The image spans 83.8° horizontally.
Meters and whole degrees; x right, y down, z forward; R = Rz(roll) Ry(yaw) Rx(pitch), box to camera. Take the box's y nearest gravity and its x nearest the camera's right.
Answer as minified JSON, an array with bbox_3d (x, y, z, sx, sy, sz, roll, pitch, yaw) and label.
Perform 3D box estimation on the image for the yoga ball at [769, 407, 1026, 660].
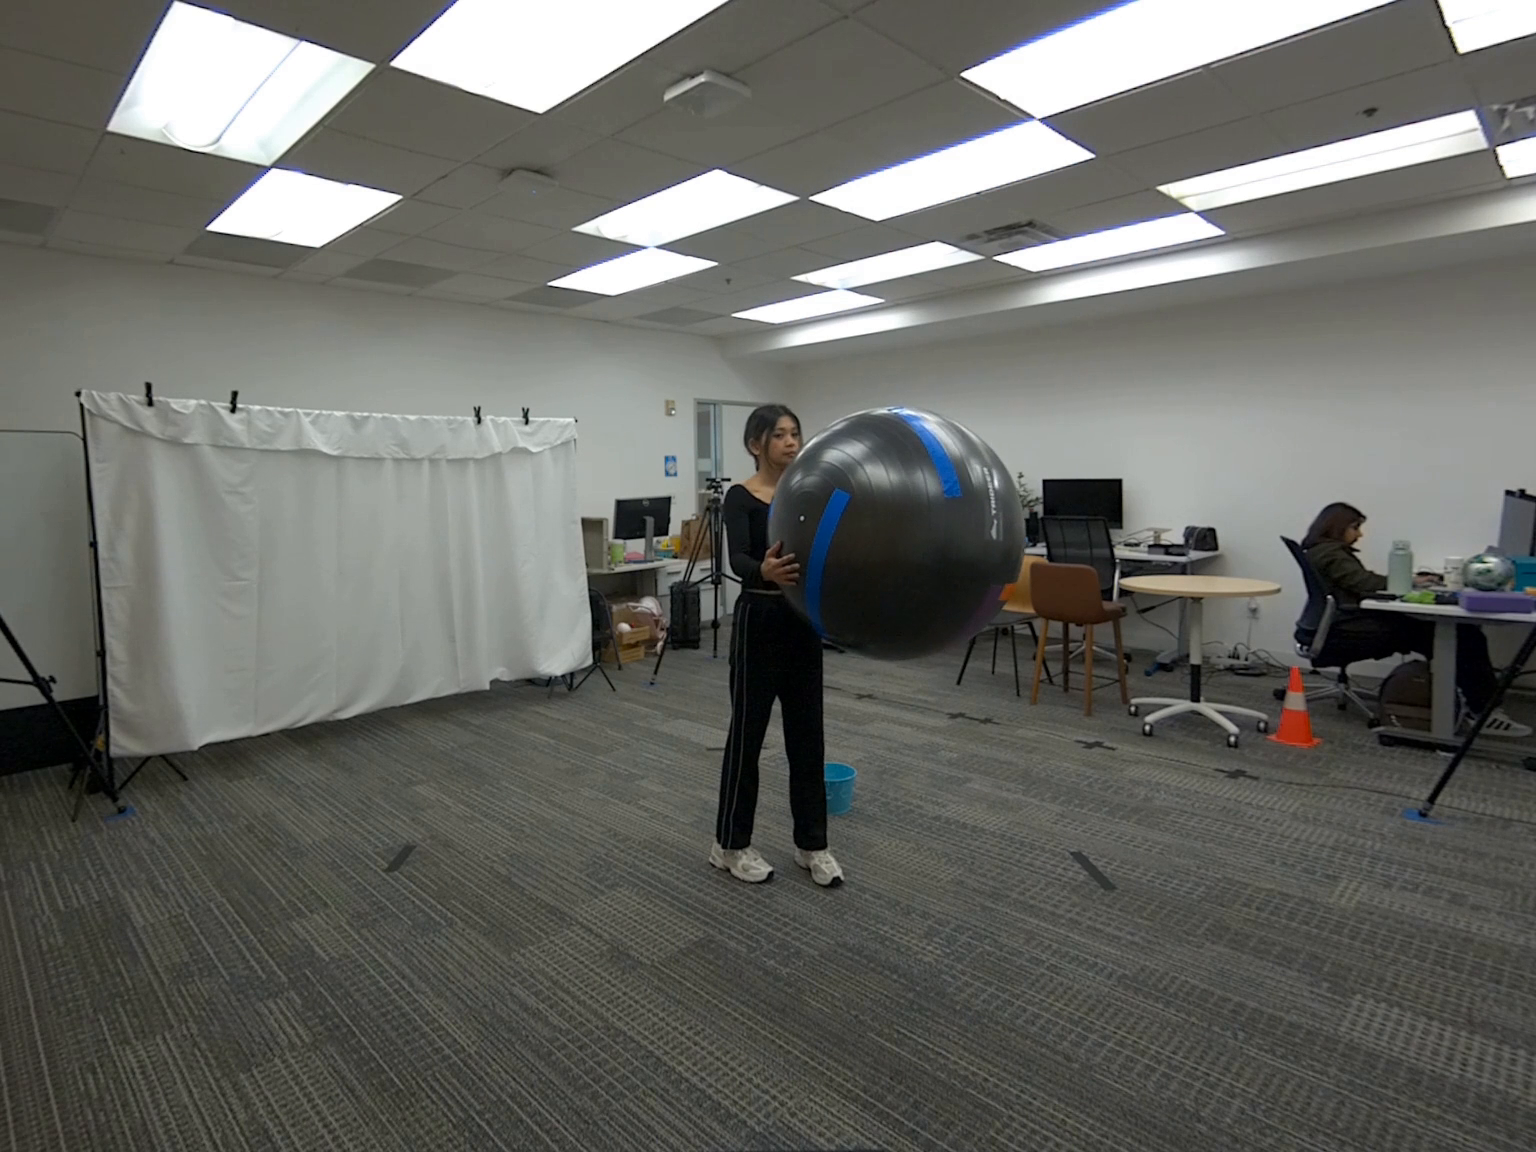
[{"bbox_3d":[0.387,-0.120,2.561,0.757,0.755,0.762,-1,5,-2],"label":"yoga ball"}]
